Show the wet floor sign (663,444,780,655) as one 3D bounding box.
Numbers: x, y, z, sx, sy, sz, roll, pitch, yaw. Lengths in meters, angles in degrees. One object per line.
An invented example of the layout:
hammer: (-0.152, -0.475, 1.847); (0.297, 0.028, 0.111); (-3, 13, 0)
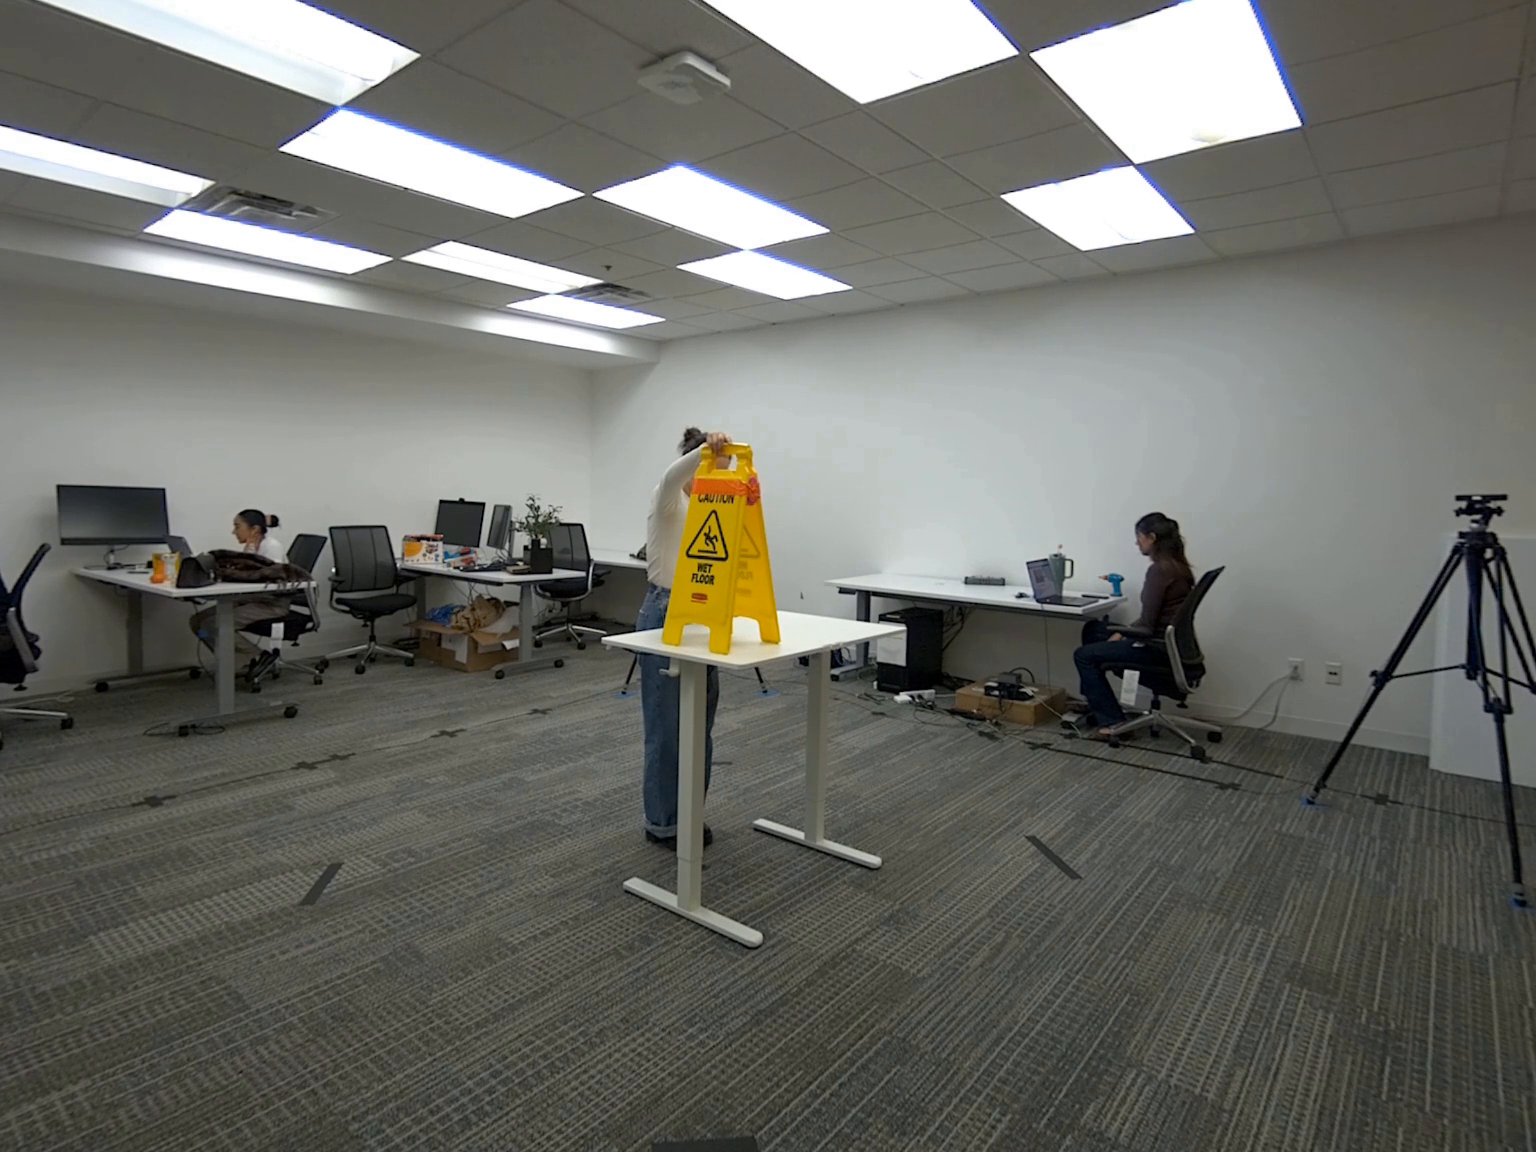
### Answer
wet floor sign: (-0.151, -0.105, 2.749); (0.291, 0.644, 0.281); (4, 5, 38)
